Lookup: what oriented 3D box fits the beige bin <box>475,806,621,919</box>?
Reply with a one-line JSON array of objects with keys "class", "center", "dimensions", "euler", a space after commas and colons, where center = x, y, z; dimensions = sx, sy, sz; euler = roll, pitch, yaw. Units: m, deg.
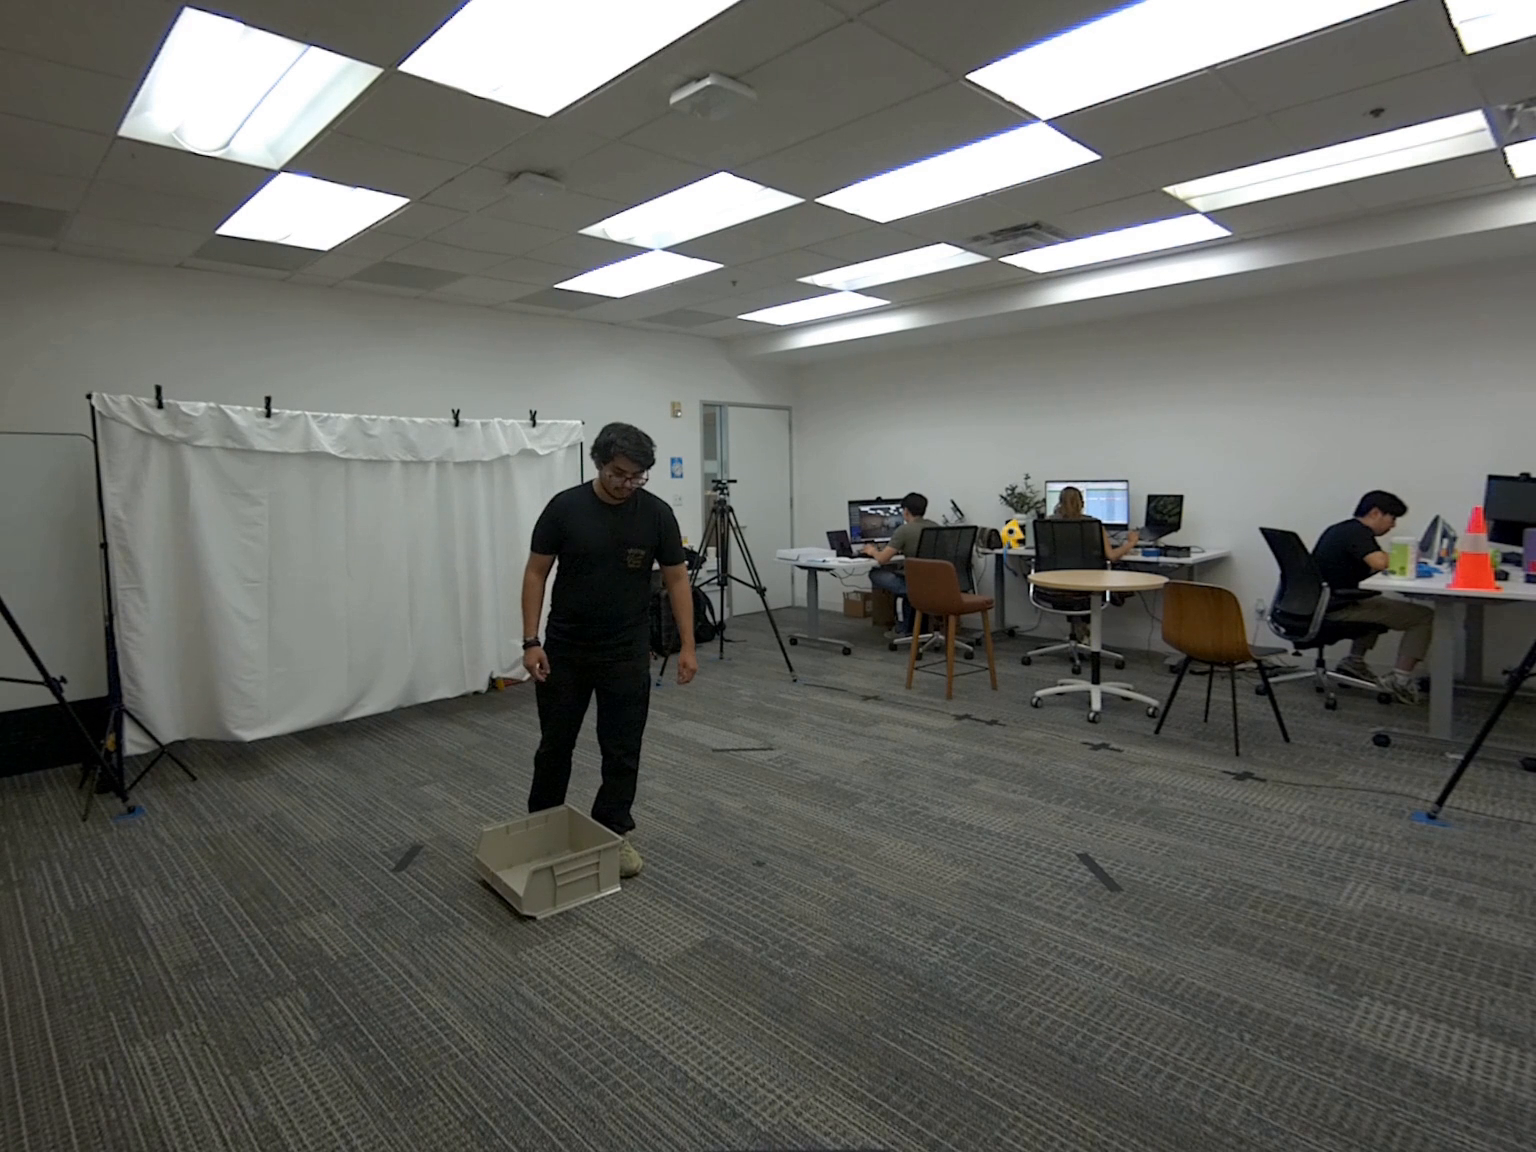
[{"class": "beige bin", "center": [-0.761, 0.988, 2.969], "dimensions": [0.367, 0.188, 0.435], "euler": [-5, 7, -39]}]
